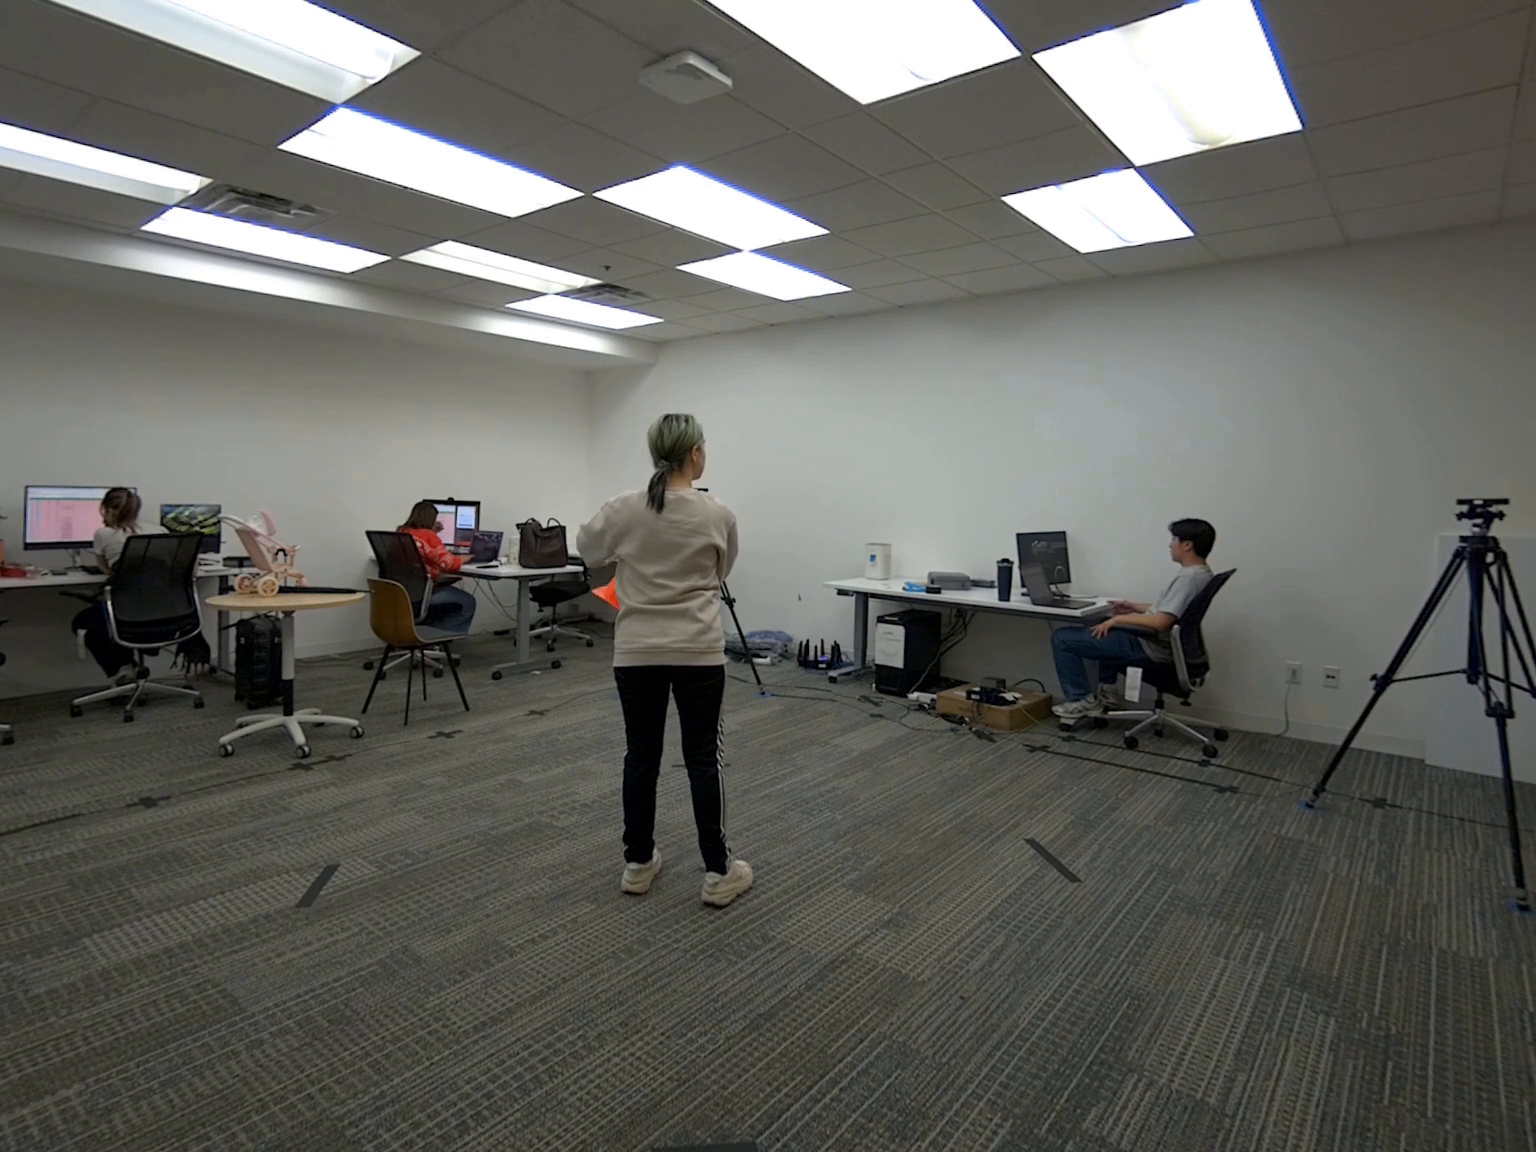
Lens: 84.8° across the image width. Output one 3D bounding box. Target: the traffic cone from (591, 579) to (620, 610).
[{"bbox_3d":[-0.494,-0.066,3.357,0.210,0.382,0.199,34,11,17],"label":"traffic cone"}]
